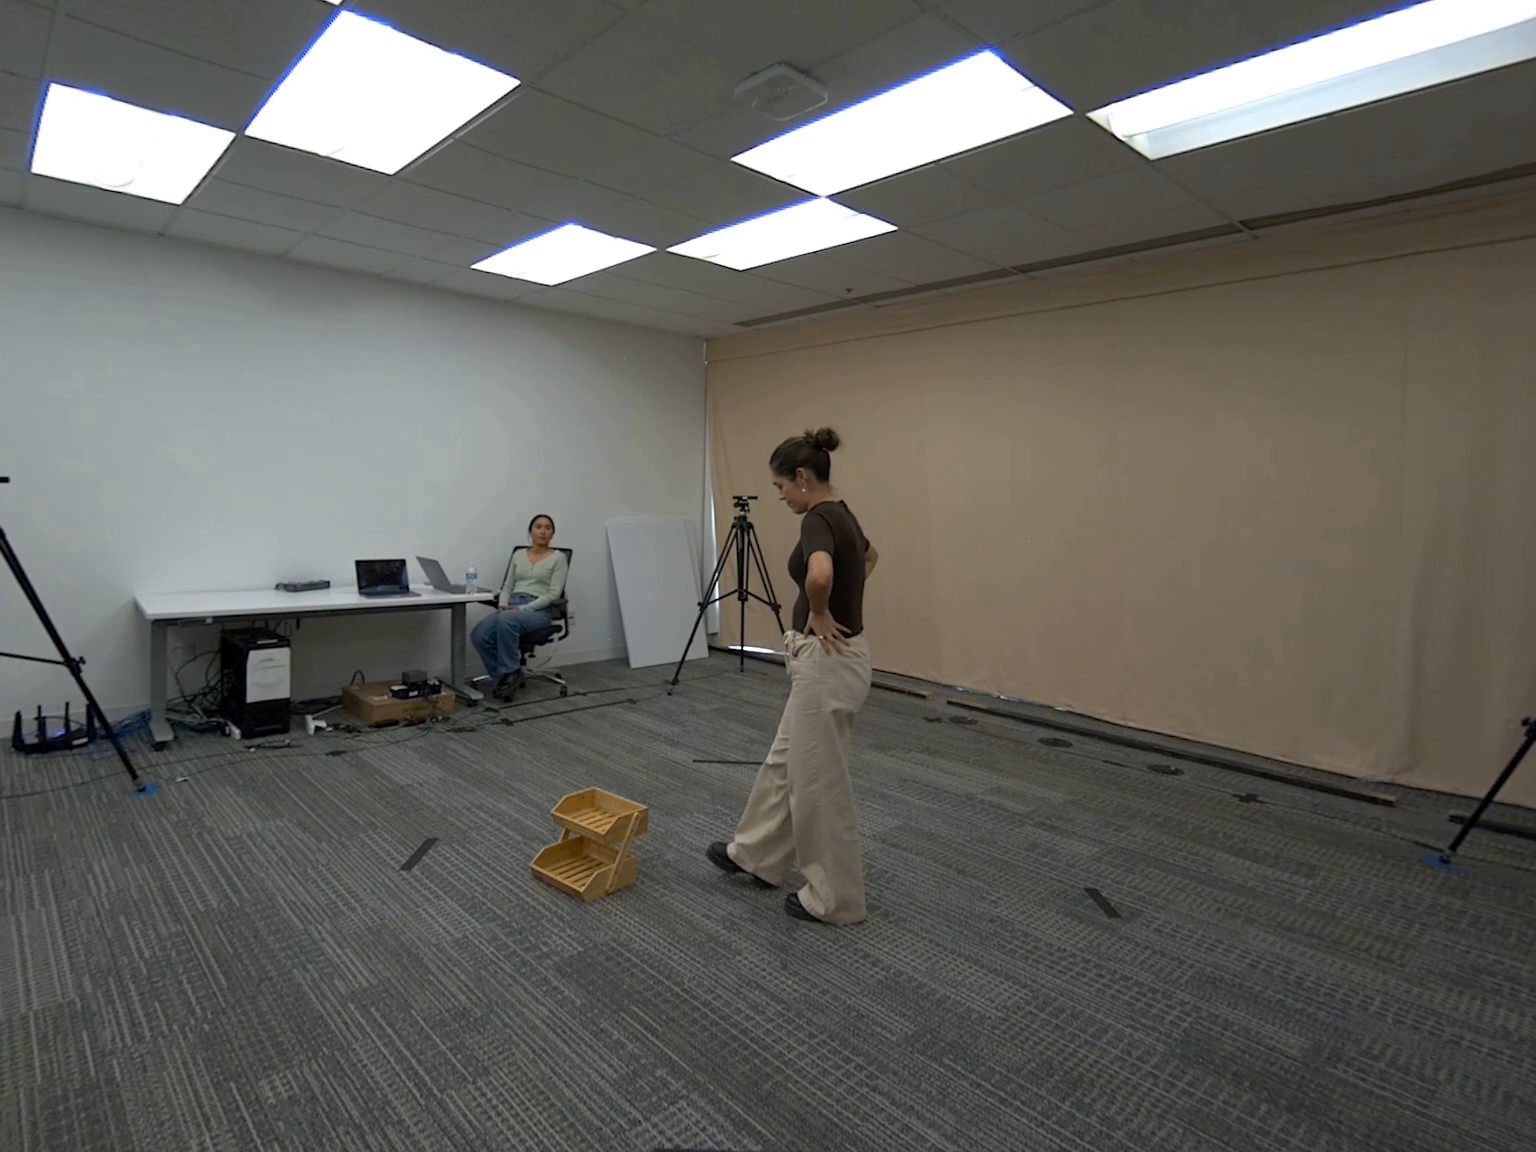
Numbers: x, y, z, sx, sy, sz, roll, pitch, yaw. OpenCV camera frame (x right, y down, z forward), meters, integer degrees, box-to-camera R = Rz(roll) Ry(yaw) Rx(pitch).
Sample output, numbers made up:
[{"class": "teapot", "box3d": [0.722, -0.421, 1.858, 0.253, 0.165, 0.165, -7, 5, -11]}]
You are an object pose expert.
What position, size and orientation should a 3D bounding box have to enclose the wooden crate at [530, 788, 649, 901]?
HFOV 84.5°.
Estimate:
[{"class": "wooden crate", "box3d": [-0.656, 0.962, 3.049, 0.333, 0.273, 0.295, 6, 5, 40]}]
